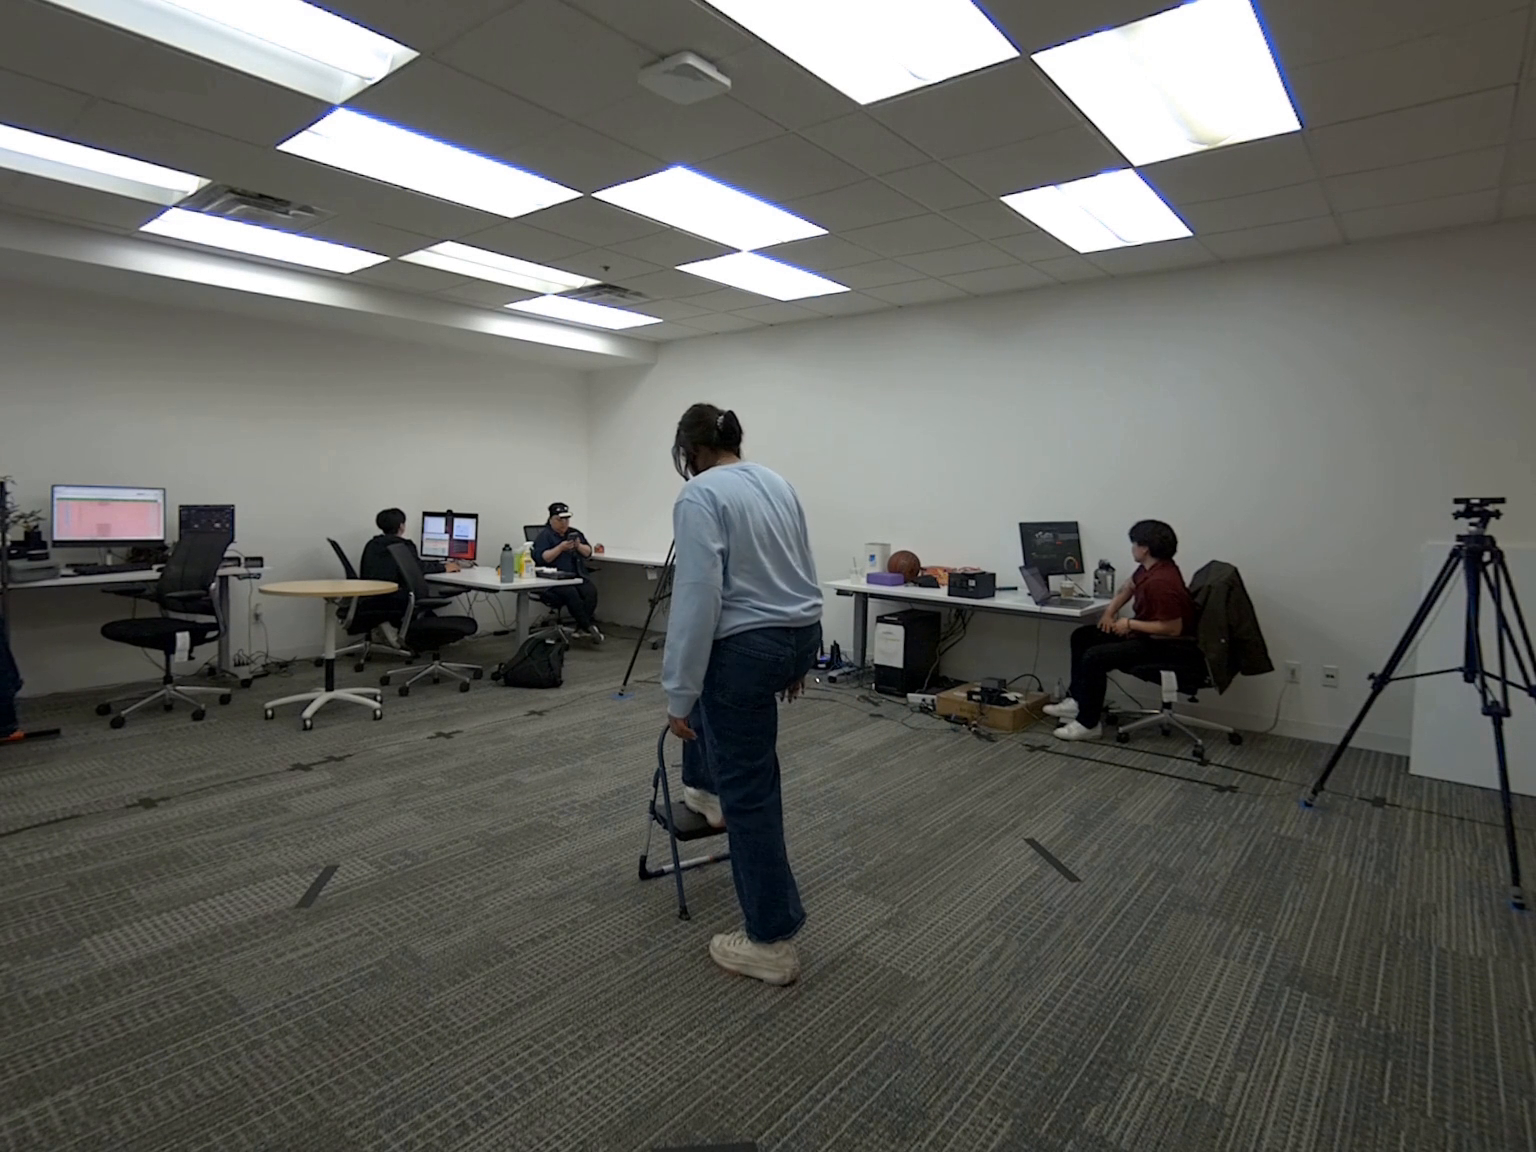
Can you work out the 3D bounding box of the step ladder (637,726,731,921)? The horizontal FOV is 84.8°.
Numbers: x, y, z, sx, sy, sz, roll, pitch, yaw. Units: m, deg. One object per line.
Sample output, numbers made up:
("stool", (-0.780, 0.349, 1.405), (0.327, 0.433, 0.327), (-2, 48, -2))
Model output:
("step ladder", (-0.199, 0.784, 2.973), (0.418, 0.604, 0.360), (-1, 4, -34))
